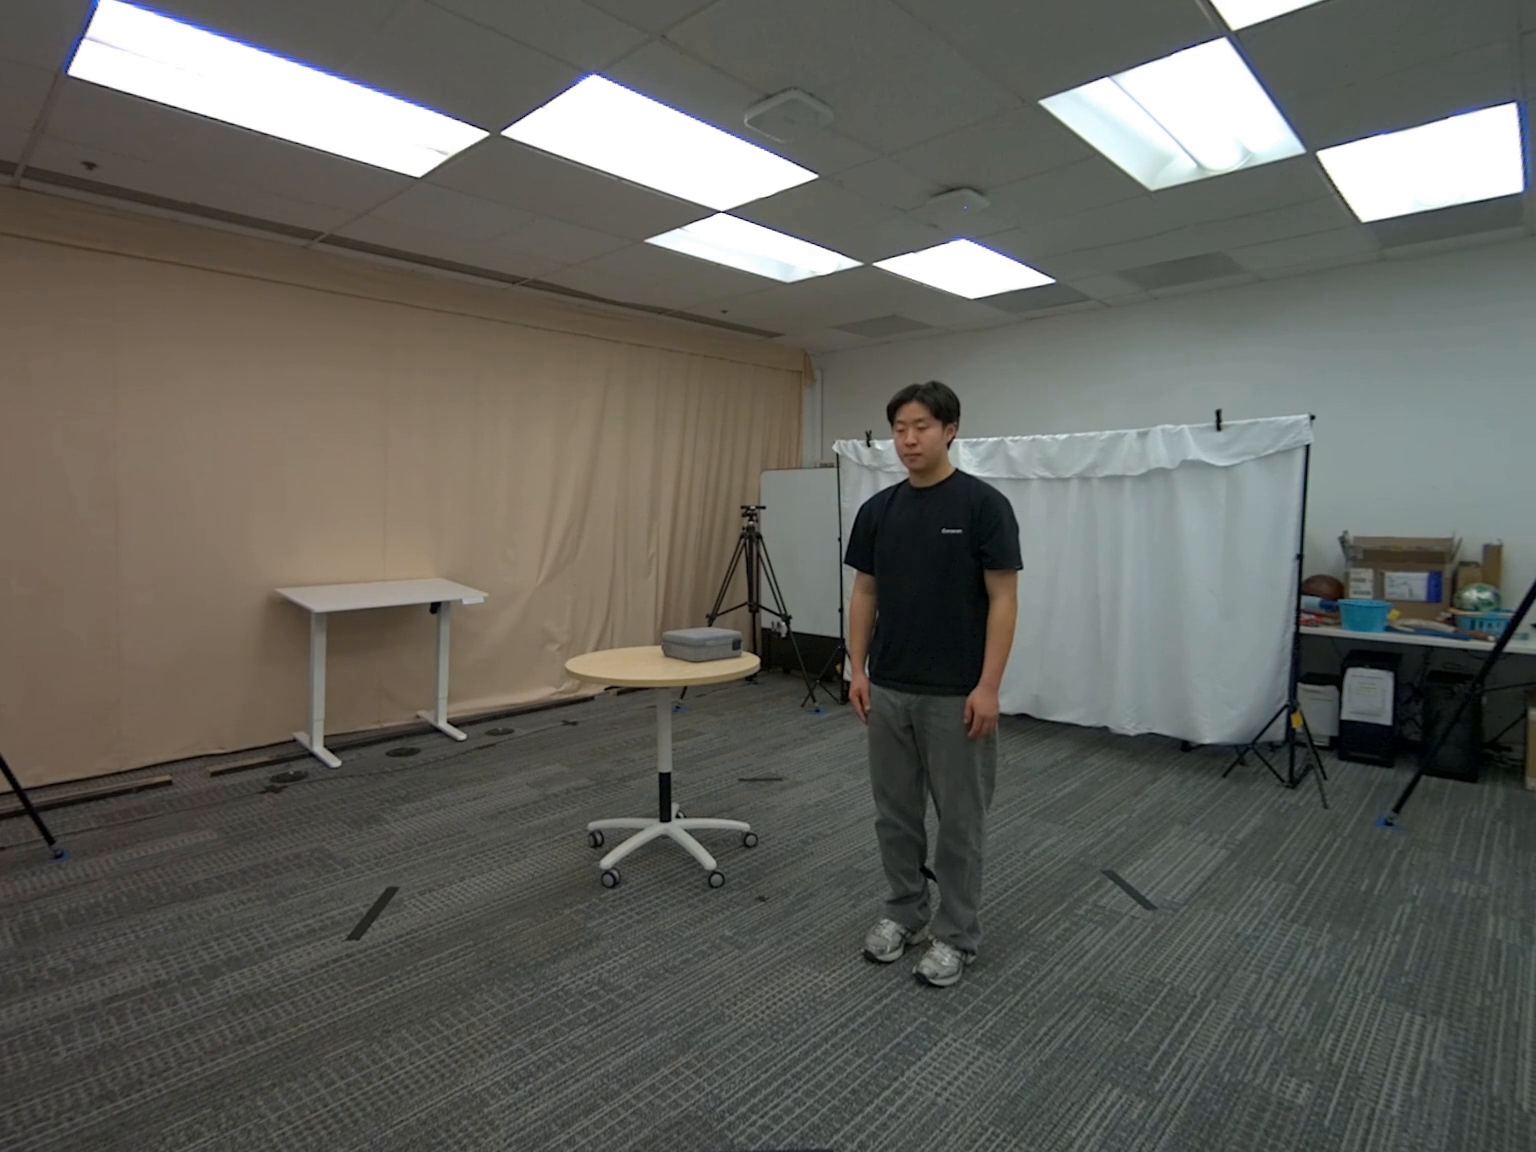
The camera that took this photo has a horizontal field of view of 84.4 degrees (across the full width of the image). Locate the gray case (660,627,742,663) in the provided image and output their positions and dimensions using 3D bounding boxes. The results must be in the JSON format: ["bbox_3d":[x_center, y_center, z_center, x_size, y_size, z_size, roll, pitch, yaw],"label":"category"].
[{"bbox_3d":[-0.274,0.275,3.432,0.255,0.103,0.296,-4,4,-37],"label":"gray case"}]
